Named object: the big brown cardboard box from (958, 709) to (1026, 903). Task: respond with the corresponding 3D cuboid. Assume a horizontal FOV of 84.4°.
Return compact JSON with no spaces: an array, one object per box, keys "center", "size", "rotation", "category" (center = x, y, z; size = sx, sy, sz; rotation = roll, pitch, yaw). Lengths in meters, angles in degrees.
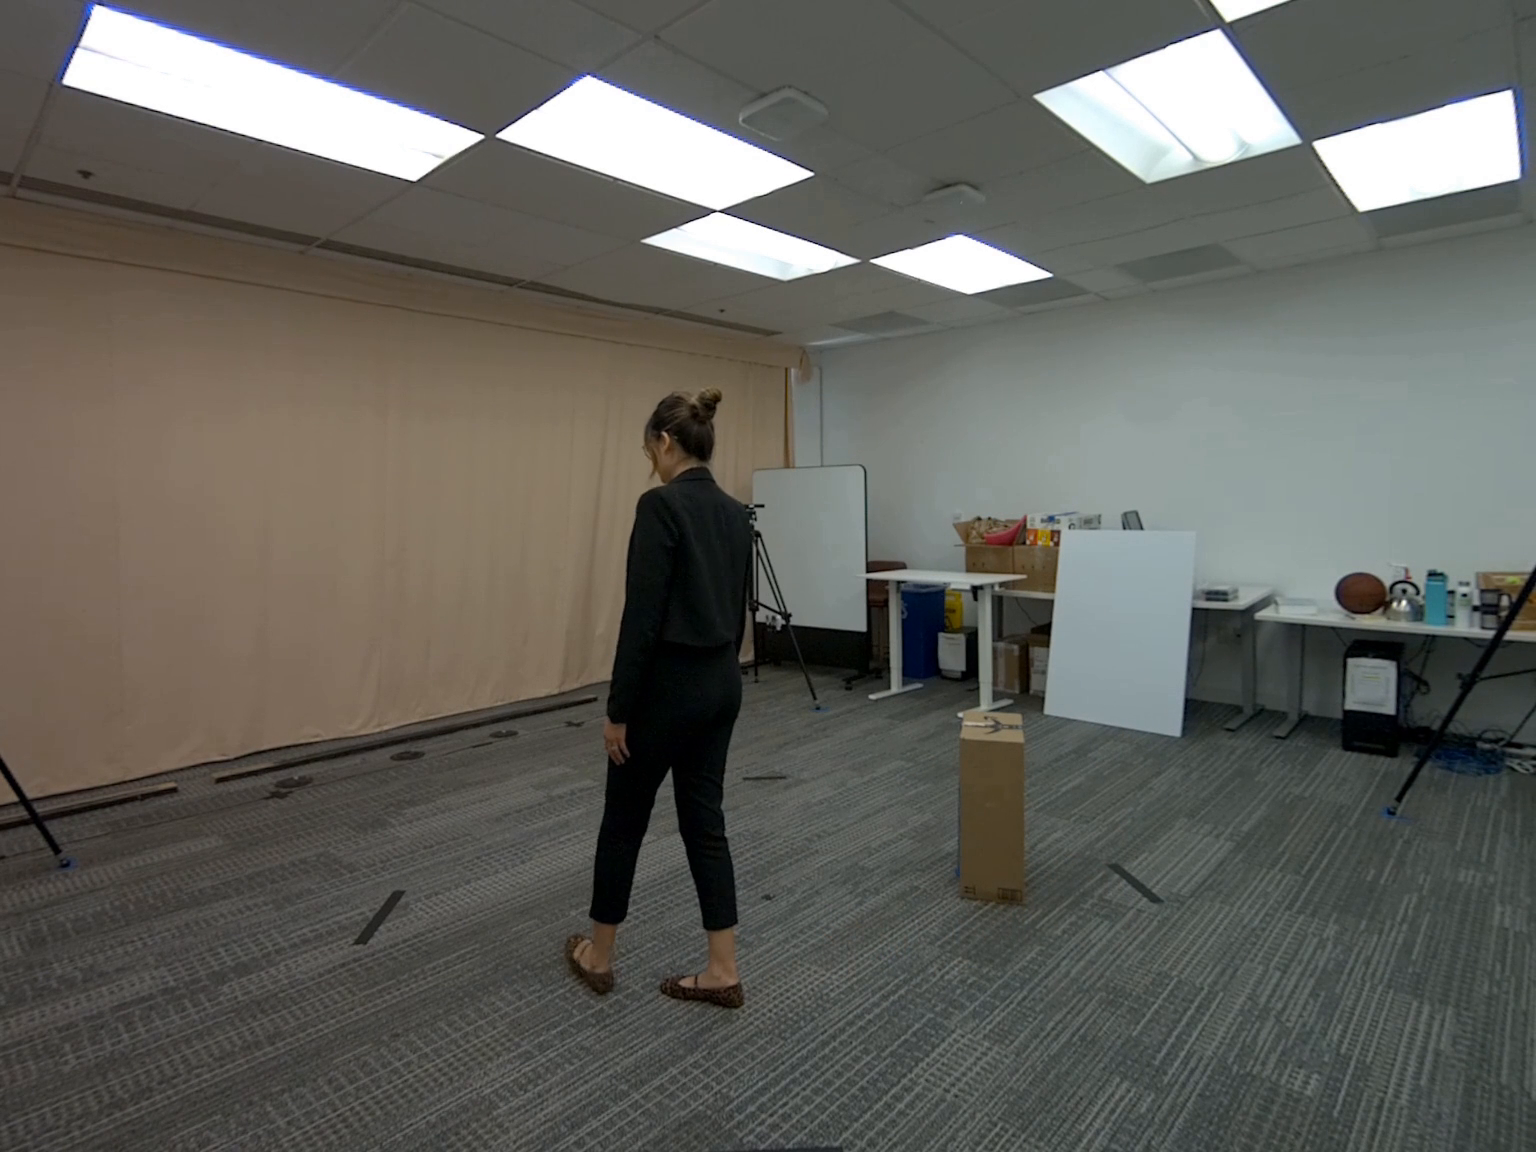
[{"center":[0.829,0.836,3.106],"size":[0.237,0.588,0.411],"rotation":[1,2,15],"category":"big brown cardboard box"}]
